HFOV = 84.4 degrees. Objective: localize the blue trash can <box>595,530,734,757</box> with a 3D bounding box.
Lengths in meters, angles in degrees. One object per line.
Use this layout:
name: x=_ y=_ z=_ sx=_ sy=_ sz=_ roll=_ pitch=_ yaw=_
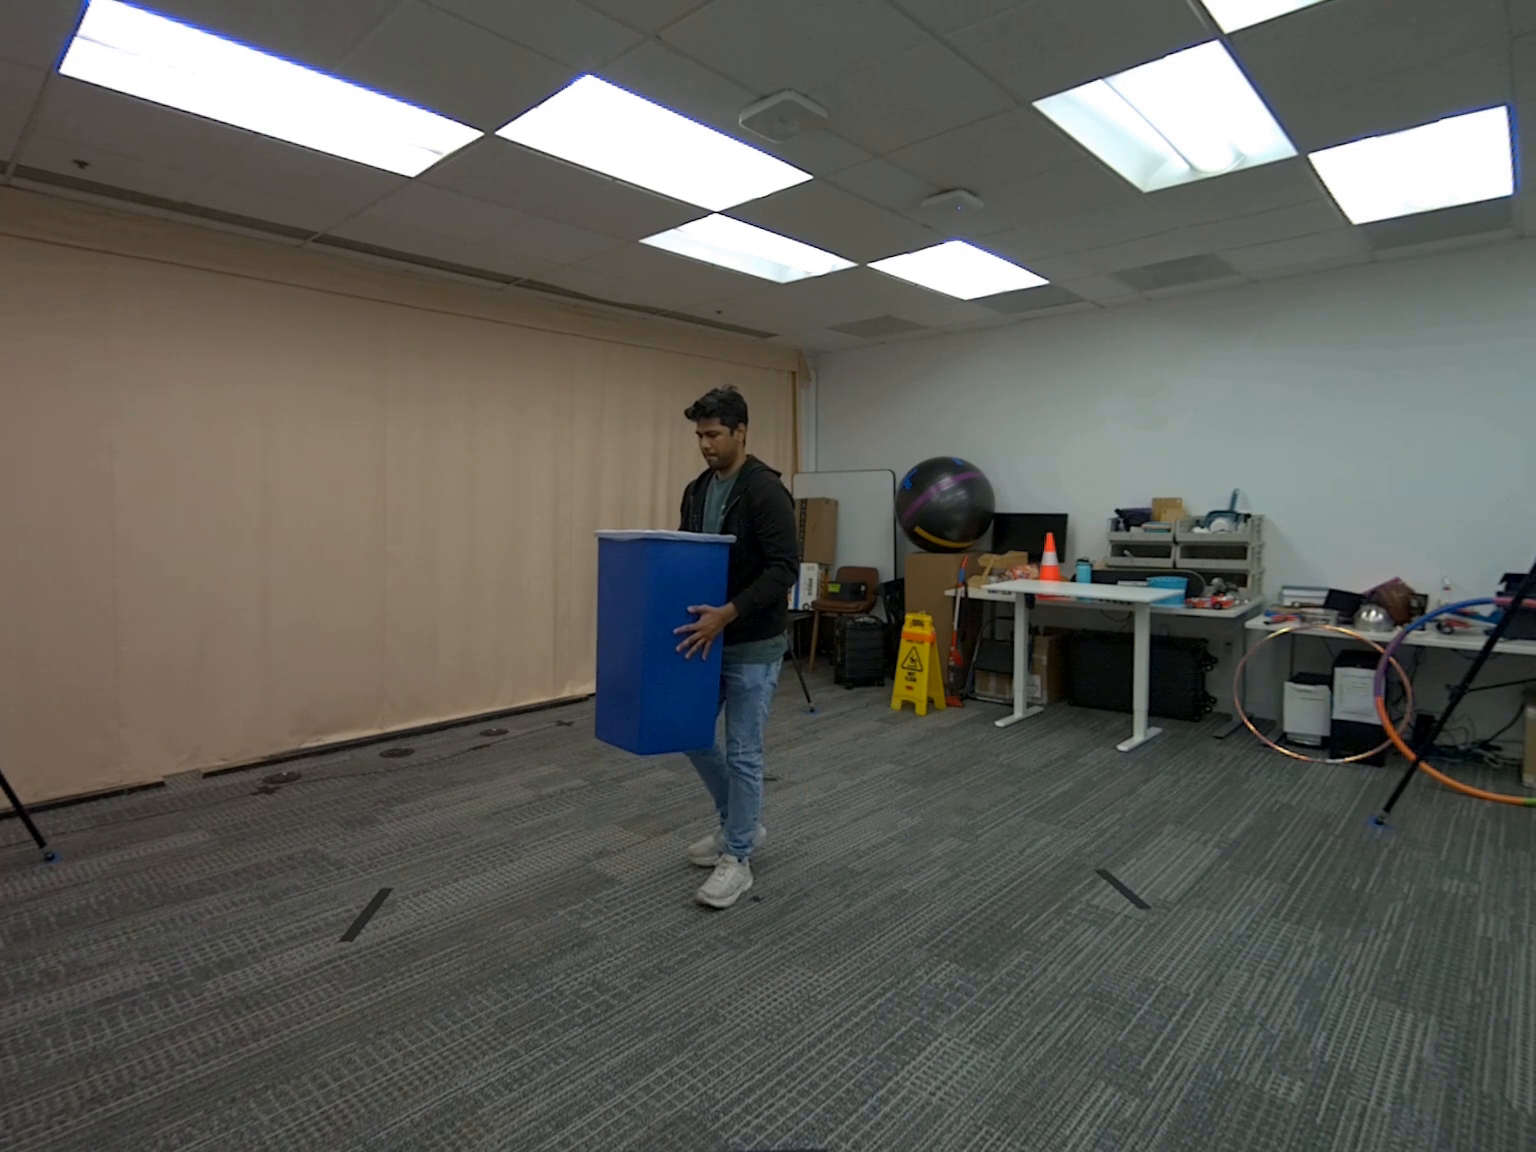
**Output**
blue trash can: x=-0.380 y=0.217 z=2.859 sx=0.362 sy=0.714 sz=0.390 roll=3 pitch=-1 yaw=-41
